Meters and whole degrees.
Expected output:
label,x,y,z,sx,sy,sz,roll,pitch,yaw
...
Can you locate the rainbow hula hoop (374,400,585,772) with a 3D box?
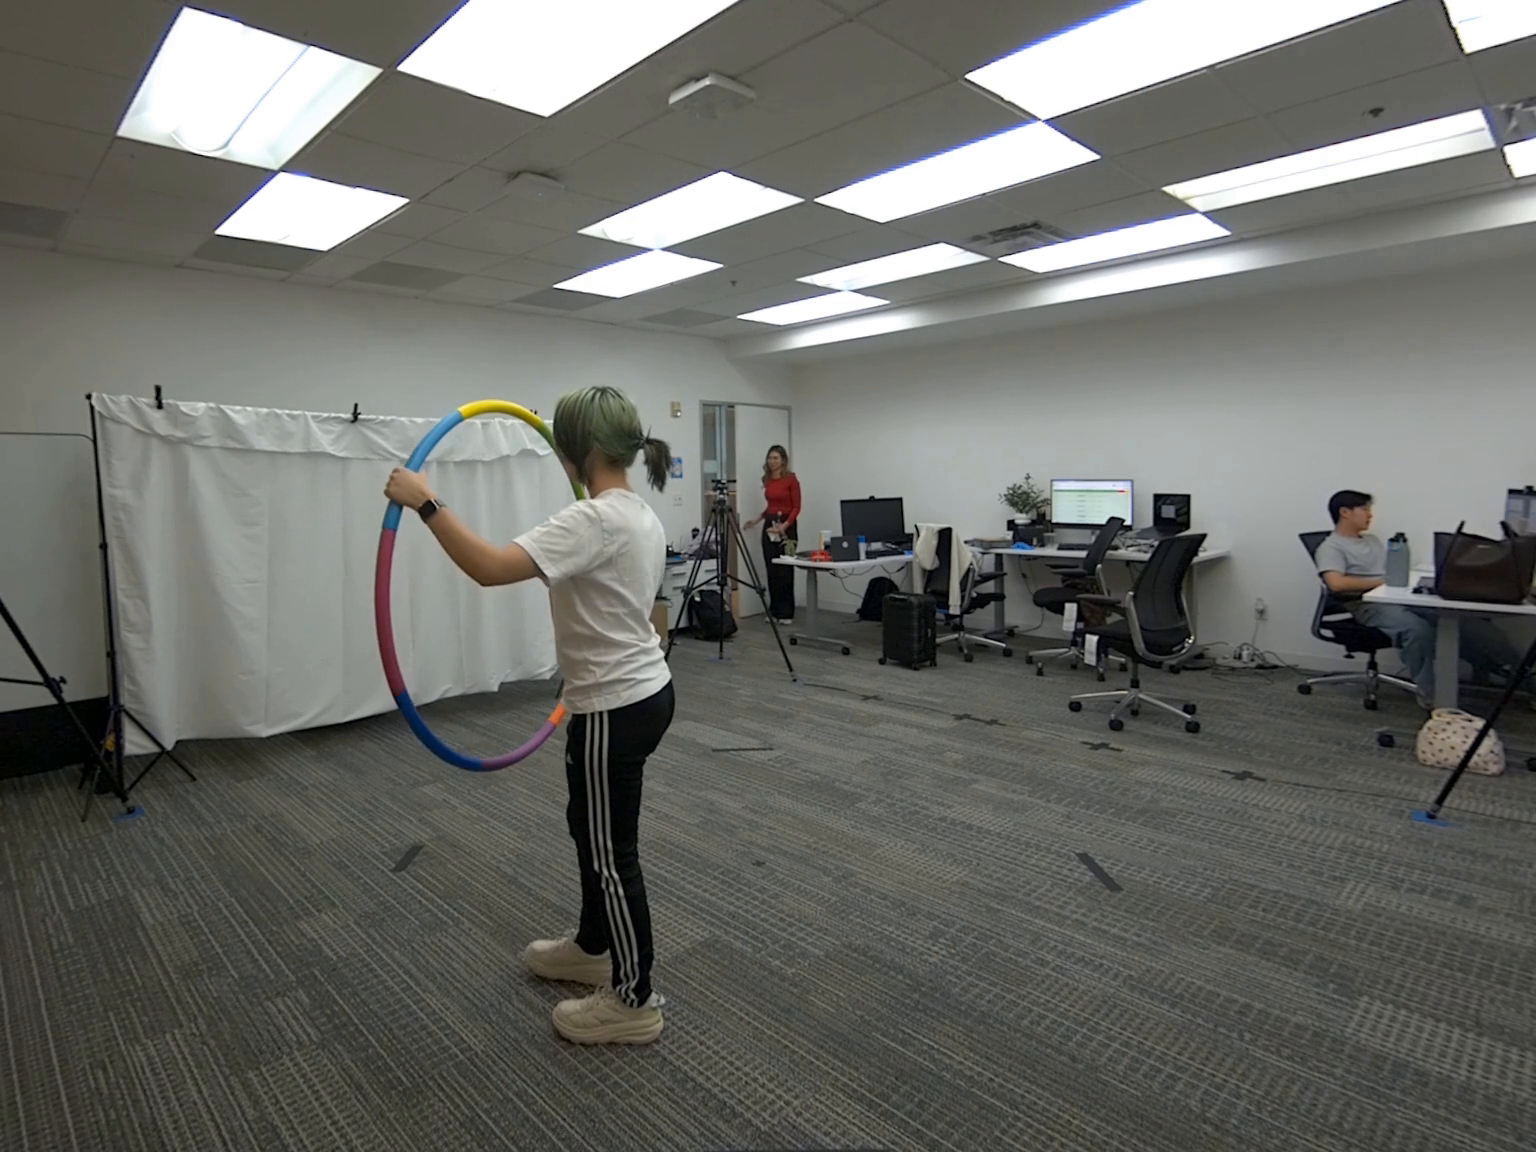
label,x,y,z,sx,sy,sz,roll,pitch,yaw
rainbow hula hoop,-0.705,0.022,2.316,0.036,0.975,0.965,0,5,17
